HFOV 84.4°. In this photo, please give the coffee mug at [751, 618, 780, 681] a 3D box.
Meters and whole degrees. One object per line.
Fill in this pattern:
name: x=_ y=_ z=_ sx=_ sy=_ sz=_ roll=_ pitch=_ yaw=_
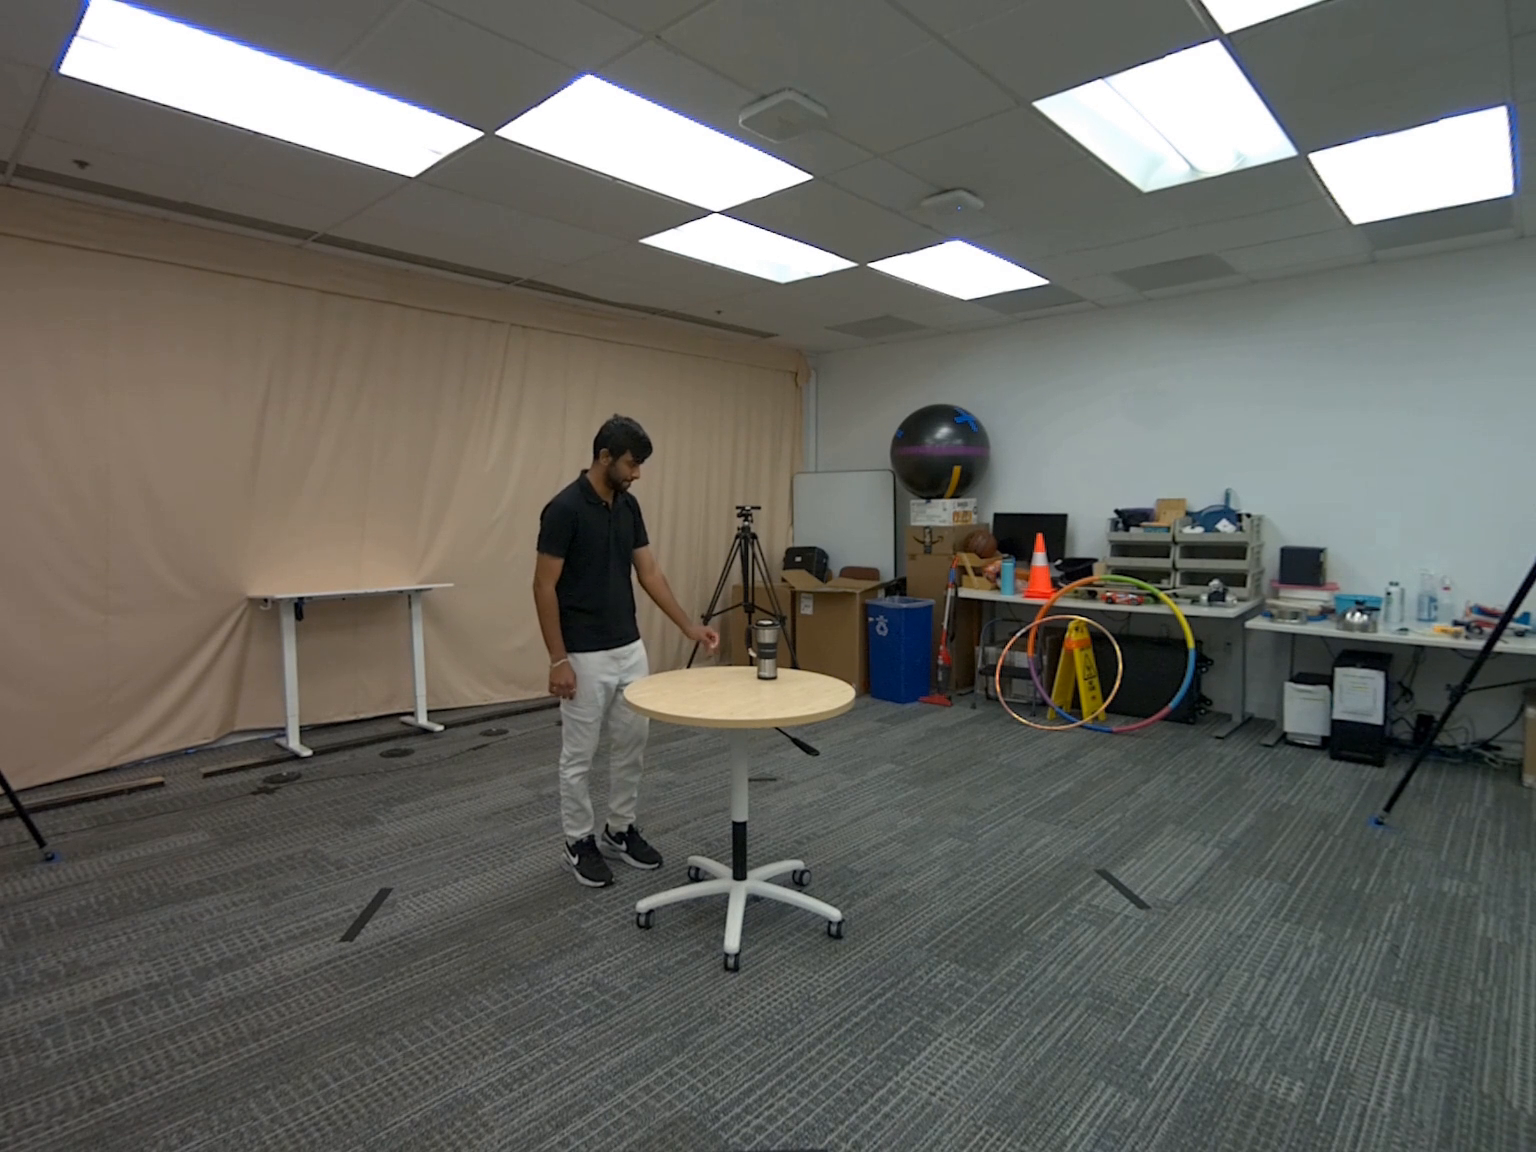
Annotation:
coffee mug: x=-0.008 y=0.259 z=2.980 sx=0.085 sy=0.202 sz=0.126 roll=-8 pitch=9 yaw=-34
